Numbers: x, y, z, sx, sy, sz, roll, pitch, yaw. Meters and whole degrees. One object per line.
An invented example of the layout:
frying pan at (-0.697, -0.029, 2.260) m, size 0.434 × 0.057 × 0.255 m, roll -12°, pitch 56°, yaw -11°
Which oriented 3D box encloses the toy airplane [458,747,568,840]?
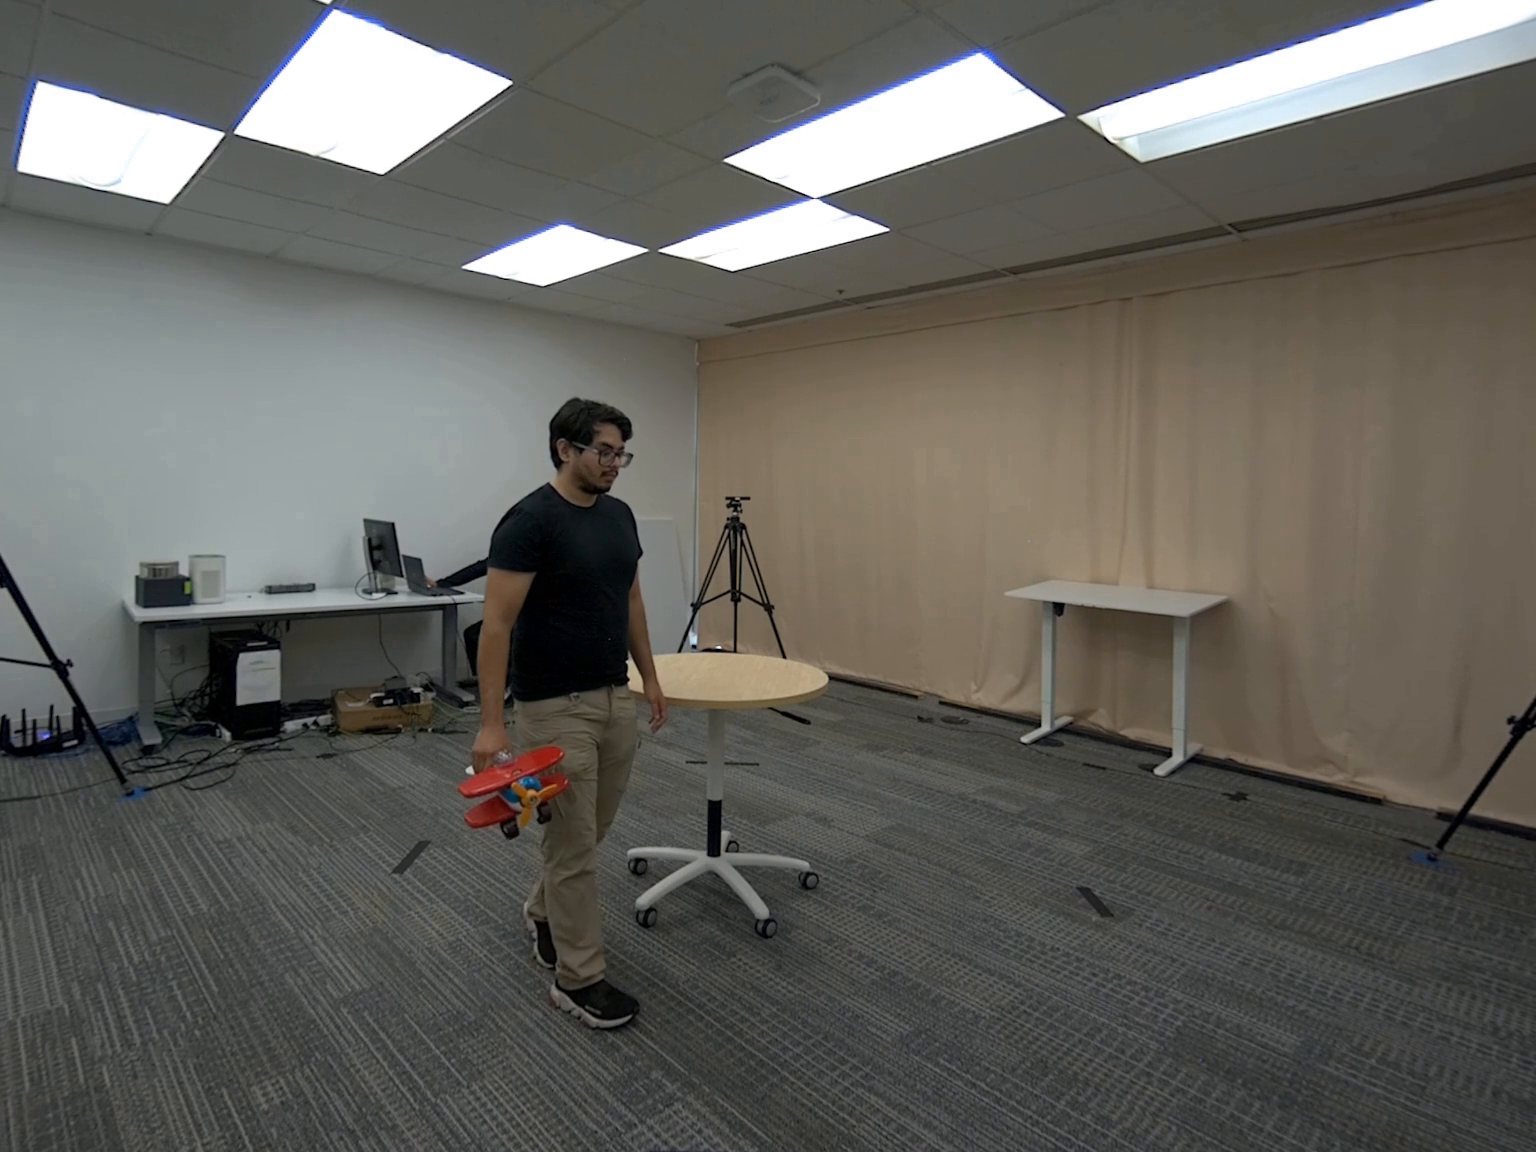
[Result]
toy airplane at (-0.646, 0.509, 2.004) m, size 0.264 × 0.154 × 0.250 m, roll 16°, pitch 30°, yaw 19°
